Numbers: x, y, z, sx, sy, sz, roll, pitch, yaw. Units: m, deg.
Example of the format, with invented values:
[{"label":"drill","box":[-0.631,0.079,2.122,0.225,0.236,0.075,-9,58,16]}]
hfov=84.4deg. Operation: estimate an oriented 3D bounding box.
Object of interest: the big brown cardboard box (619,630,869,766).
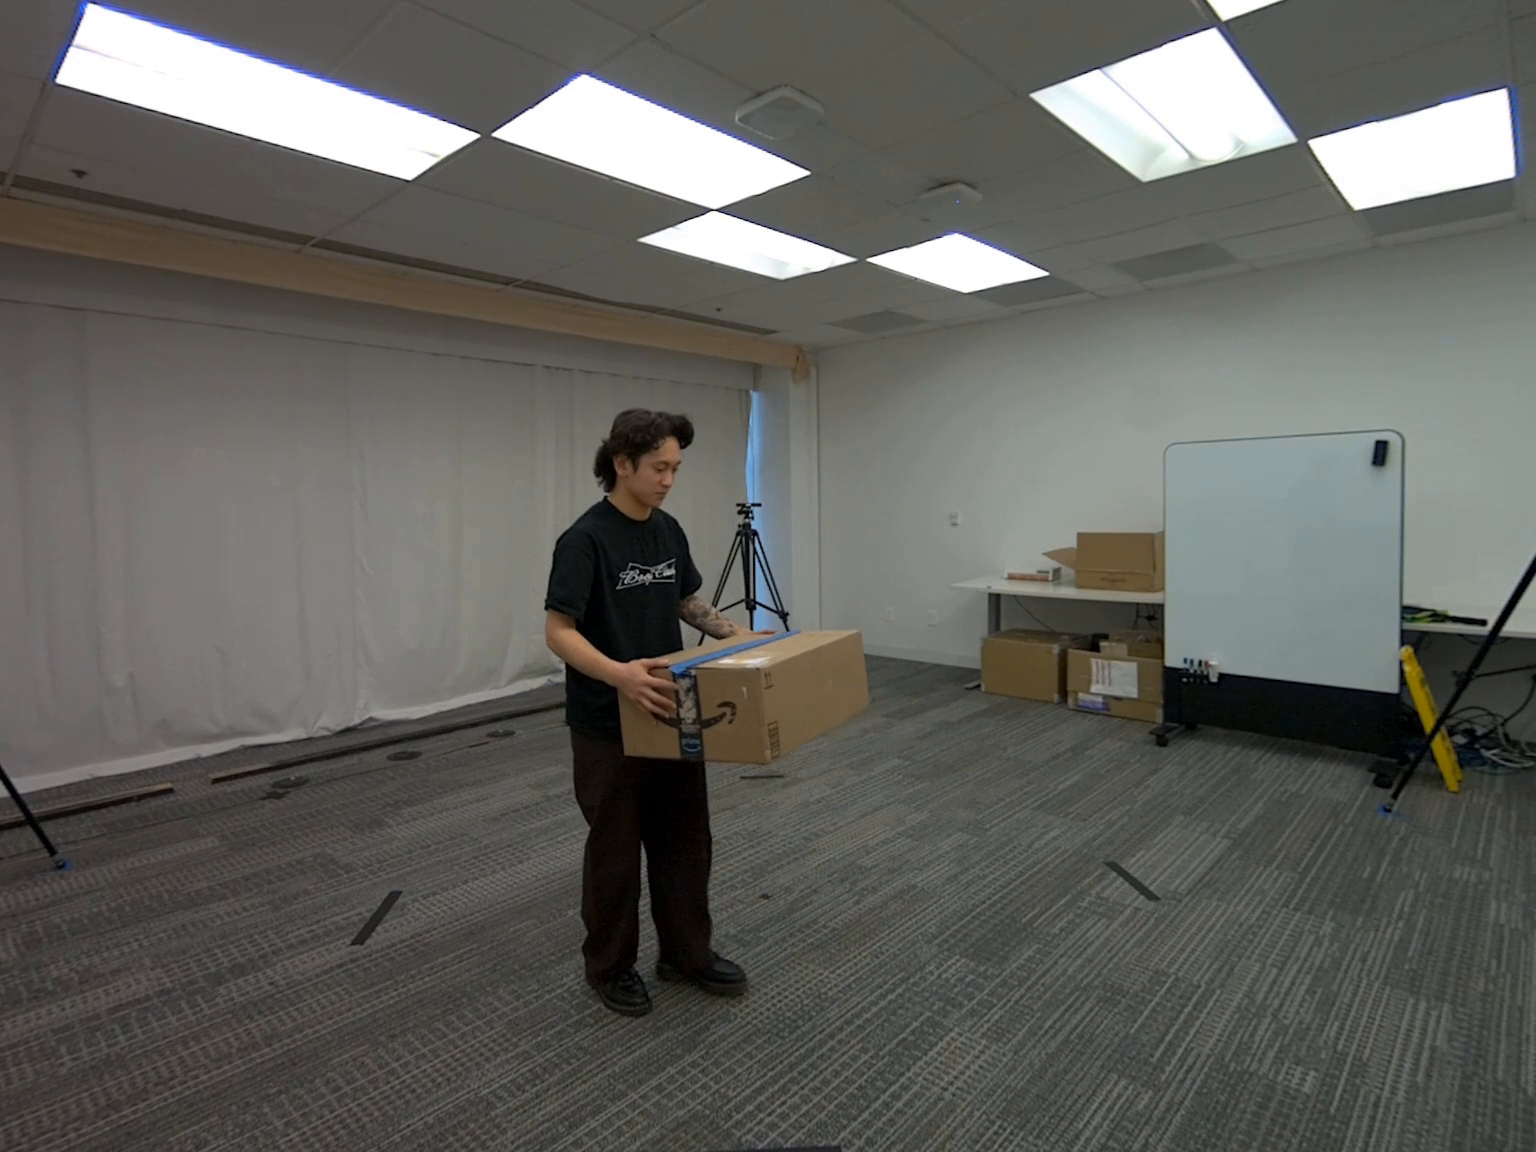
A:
[{"label":"big brown cardboard box","box":[-0.037,0.297,2.168,0.429,0.233,0.573,-5,1,31]}]
